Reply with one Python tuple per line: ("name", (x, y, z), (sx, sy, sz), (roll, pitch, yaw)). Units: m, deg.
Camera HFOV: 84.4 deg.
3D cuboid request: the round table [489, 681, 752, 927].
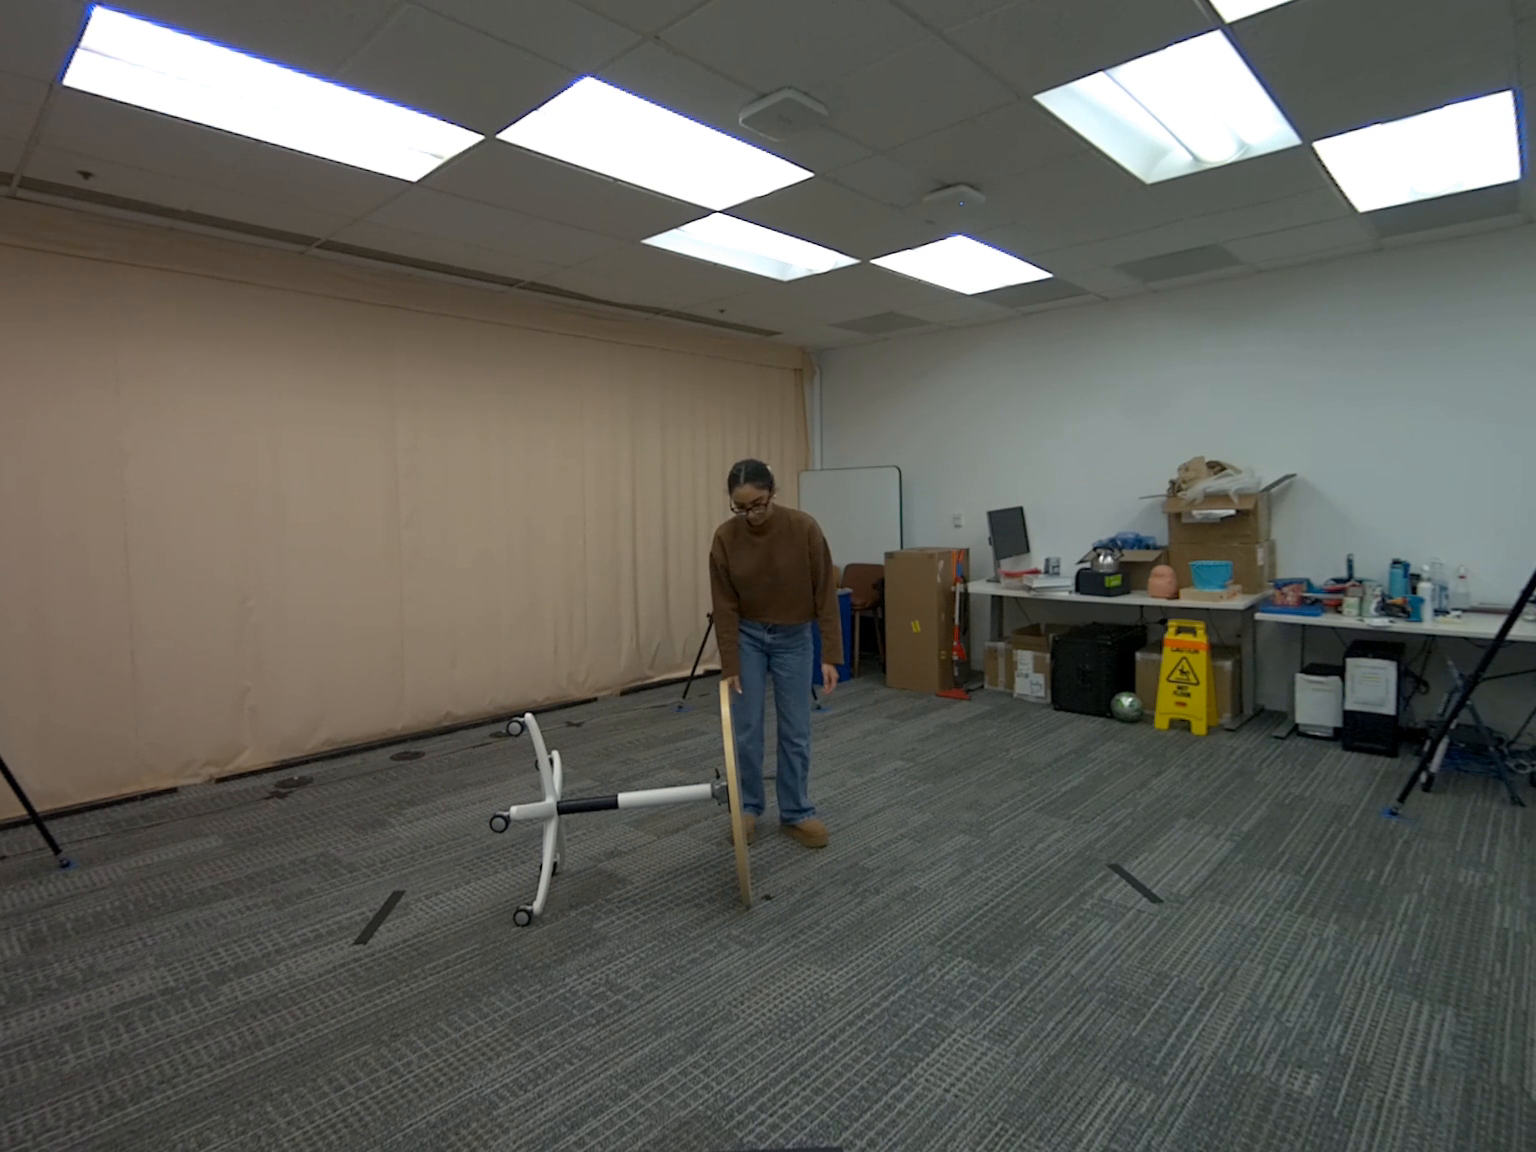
("round table", (-0.497, 0.805, 3.012), (0.795, 0.762, 0.765), (-6, 4, 0))
